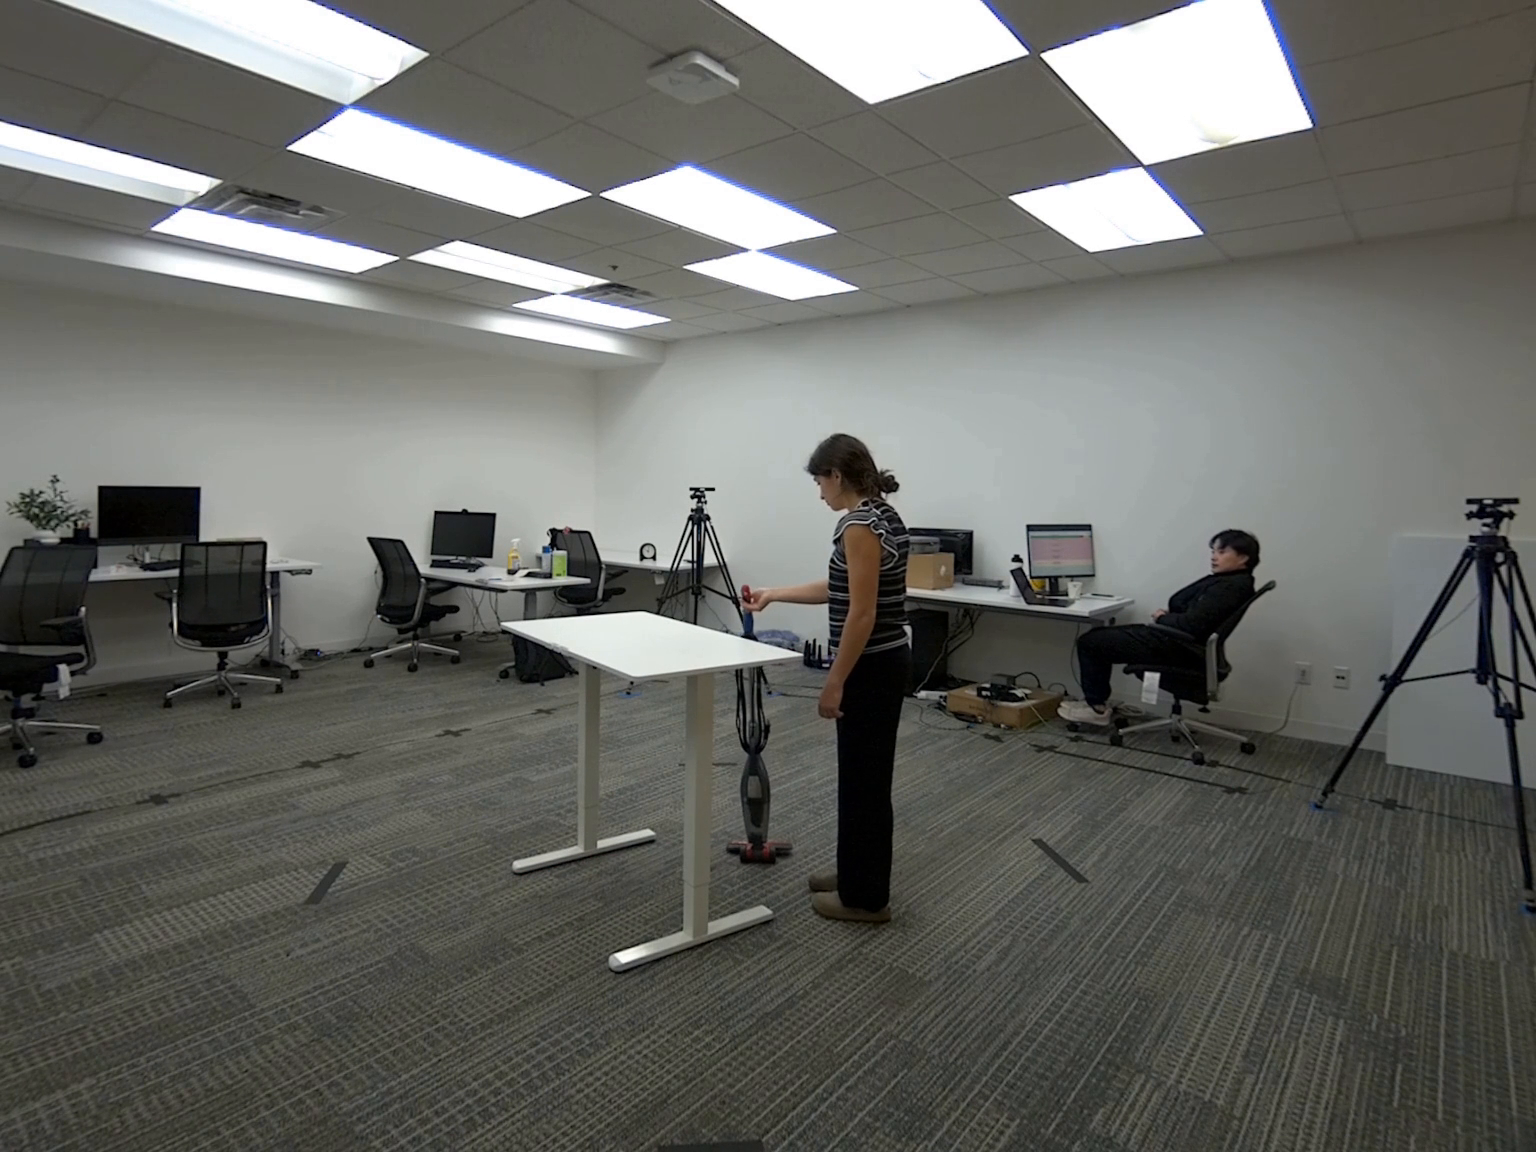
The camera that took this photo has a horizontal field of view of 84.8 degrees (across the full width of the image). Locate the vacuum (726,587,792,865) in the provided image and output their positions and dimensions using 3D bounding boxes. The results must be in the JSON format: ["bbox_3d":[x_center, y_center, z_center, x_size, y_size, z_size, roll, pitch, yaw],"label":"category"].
[{"bbox_3d":[-0.060,0.555,3.122,0.253,1.037,0.145,-2,11,2],"label":"vacuum"}]
